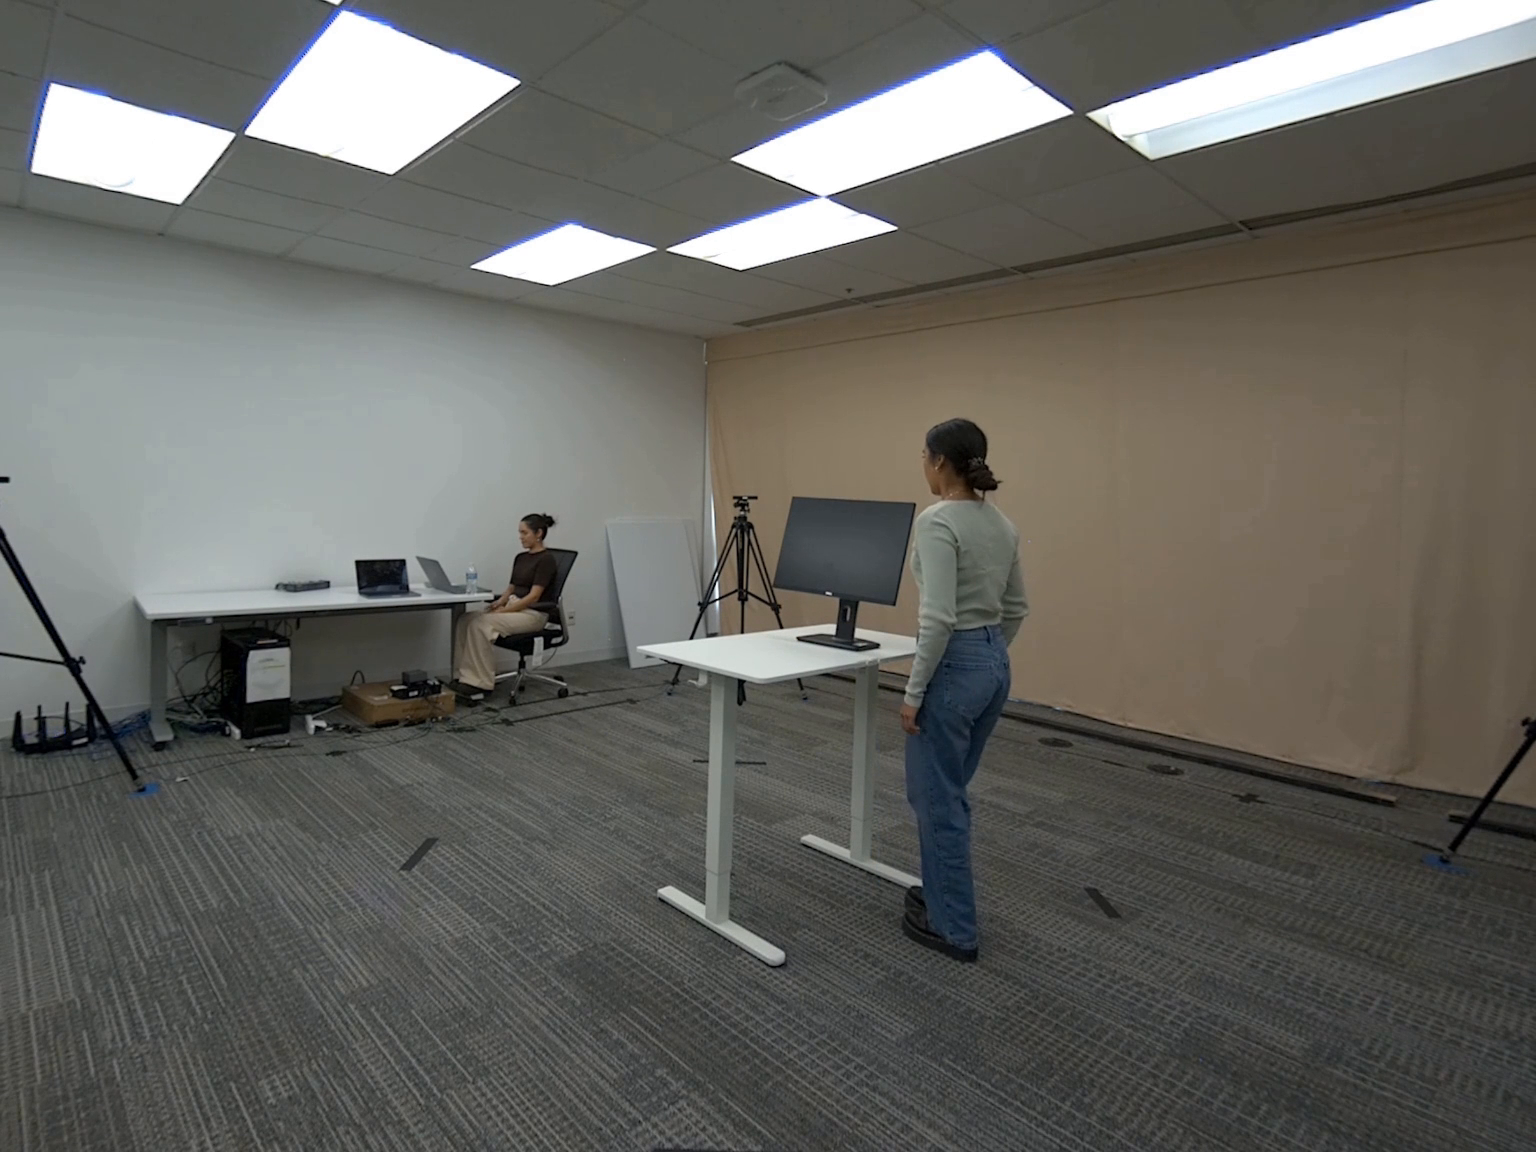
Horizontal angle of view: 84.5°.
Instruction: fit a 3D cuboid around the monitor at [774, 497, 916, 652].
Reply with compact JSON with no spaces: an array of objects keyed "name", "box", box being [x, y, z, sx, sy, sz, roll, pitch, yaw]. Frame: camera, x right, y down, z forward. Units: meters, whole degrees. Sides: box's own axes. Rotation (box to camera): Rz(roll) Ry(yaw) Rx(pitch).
[{"name":"monitor","box":[0.258,-0.015,2.978,0.544,0.514,0.171,8,8,43]}]
